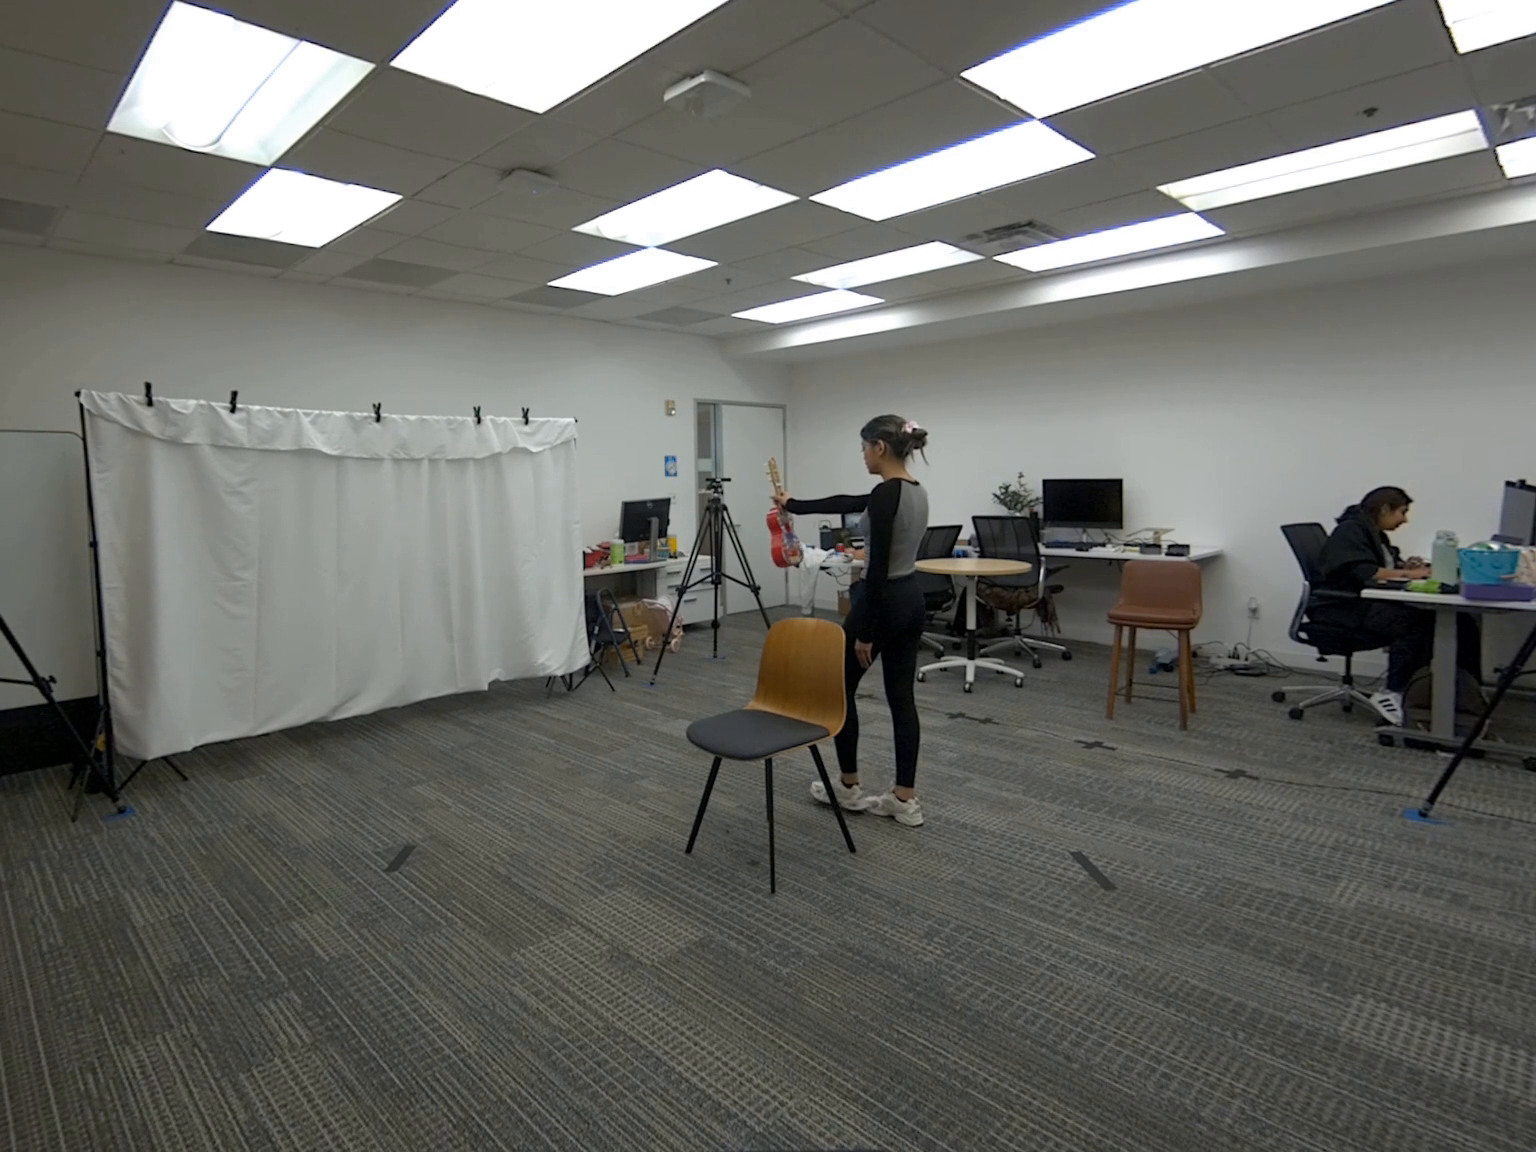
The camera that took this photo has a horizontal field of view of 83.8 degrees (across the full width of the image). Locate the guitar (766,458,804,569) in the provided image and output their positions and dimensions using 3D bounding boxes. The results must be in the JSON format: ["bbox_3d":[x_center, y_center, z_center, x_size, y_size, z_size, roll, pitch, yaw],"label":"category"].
[{"bbox_3d":[0.068,-0.285,3.913,0.072,0.503,0.187,-14,-12,30],"label":"guitar"}]
